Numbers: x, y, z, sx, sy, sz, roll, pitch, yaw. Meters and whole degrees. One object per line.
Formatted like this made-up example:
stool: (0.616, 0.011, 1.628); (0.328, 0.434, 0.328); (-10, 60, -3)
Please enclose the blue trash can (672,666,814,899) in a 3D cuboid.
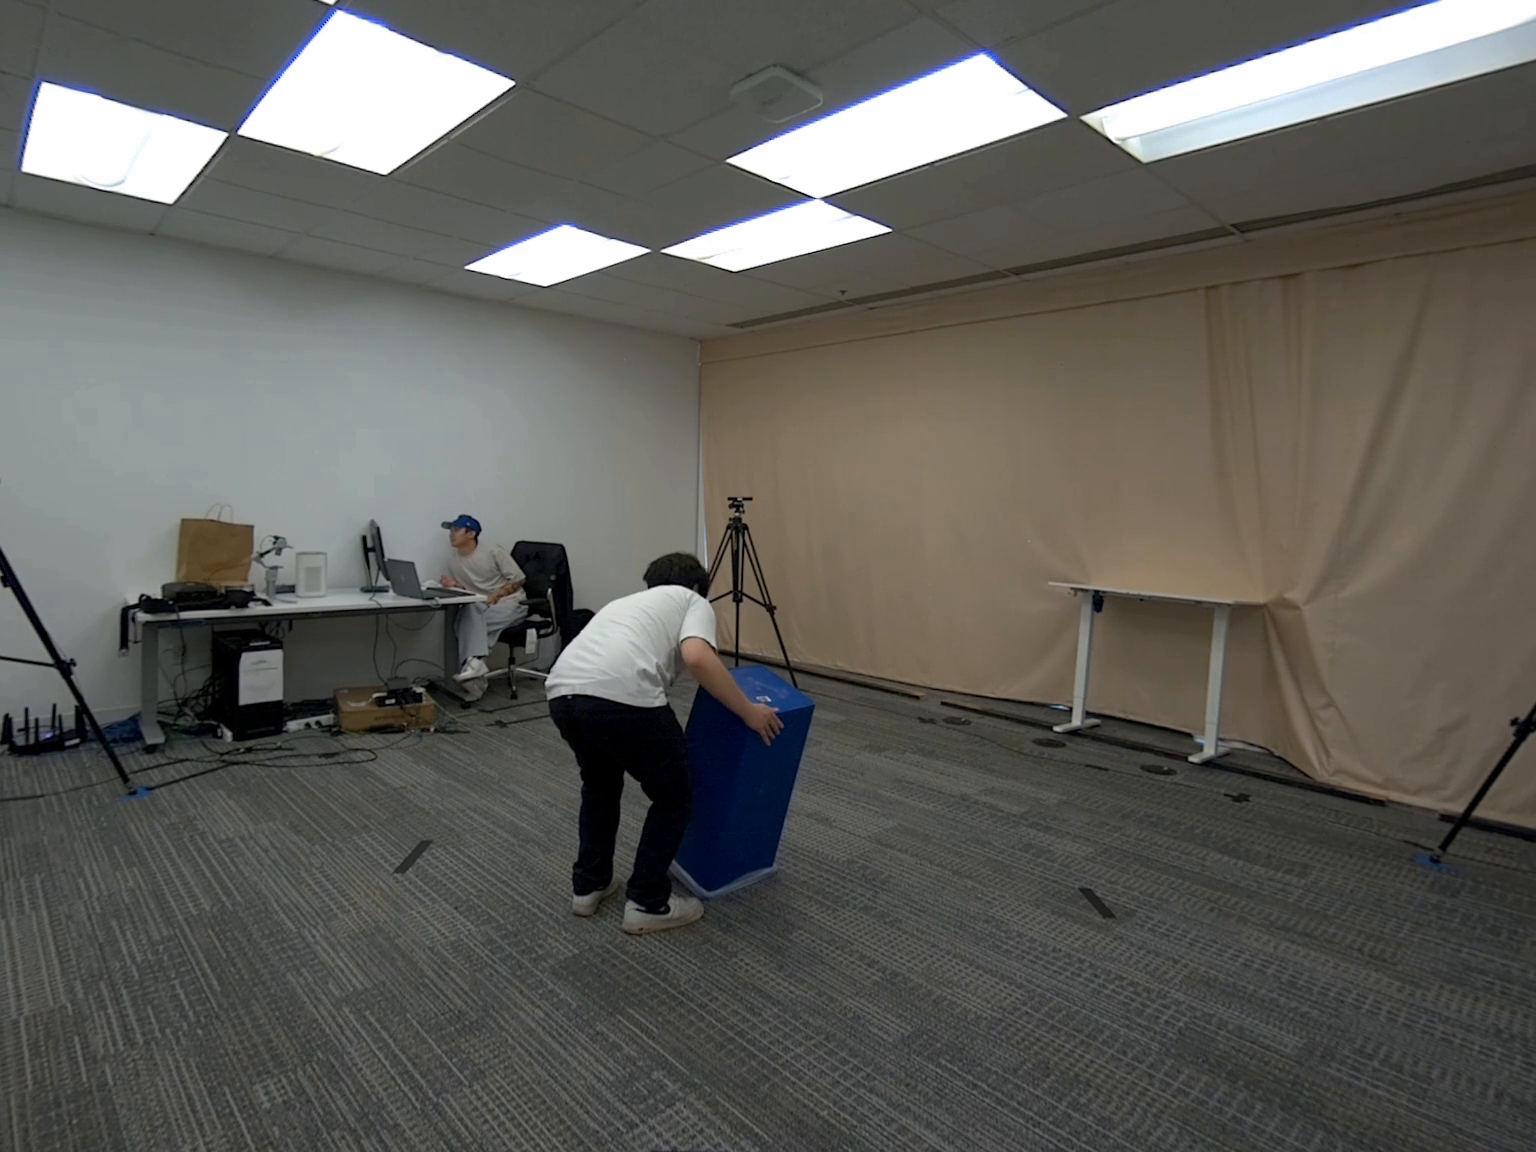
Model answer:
blue trash can: (-0.121, 0.726, 3.042); (0.369, 0.707, 0.386); (-3, 25, -46)
